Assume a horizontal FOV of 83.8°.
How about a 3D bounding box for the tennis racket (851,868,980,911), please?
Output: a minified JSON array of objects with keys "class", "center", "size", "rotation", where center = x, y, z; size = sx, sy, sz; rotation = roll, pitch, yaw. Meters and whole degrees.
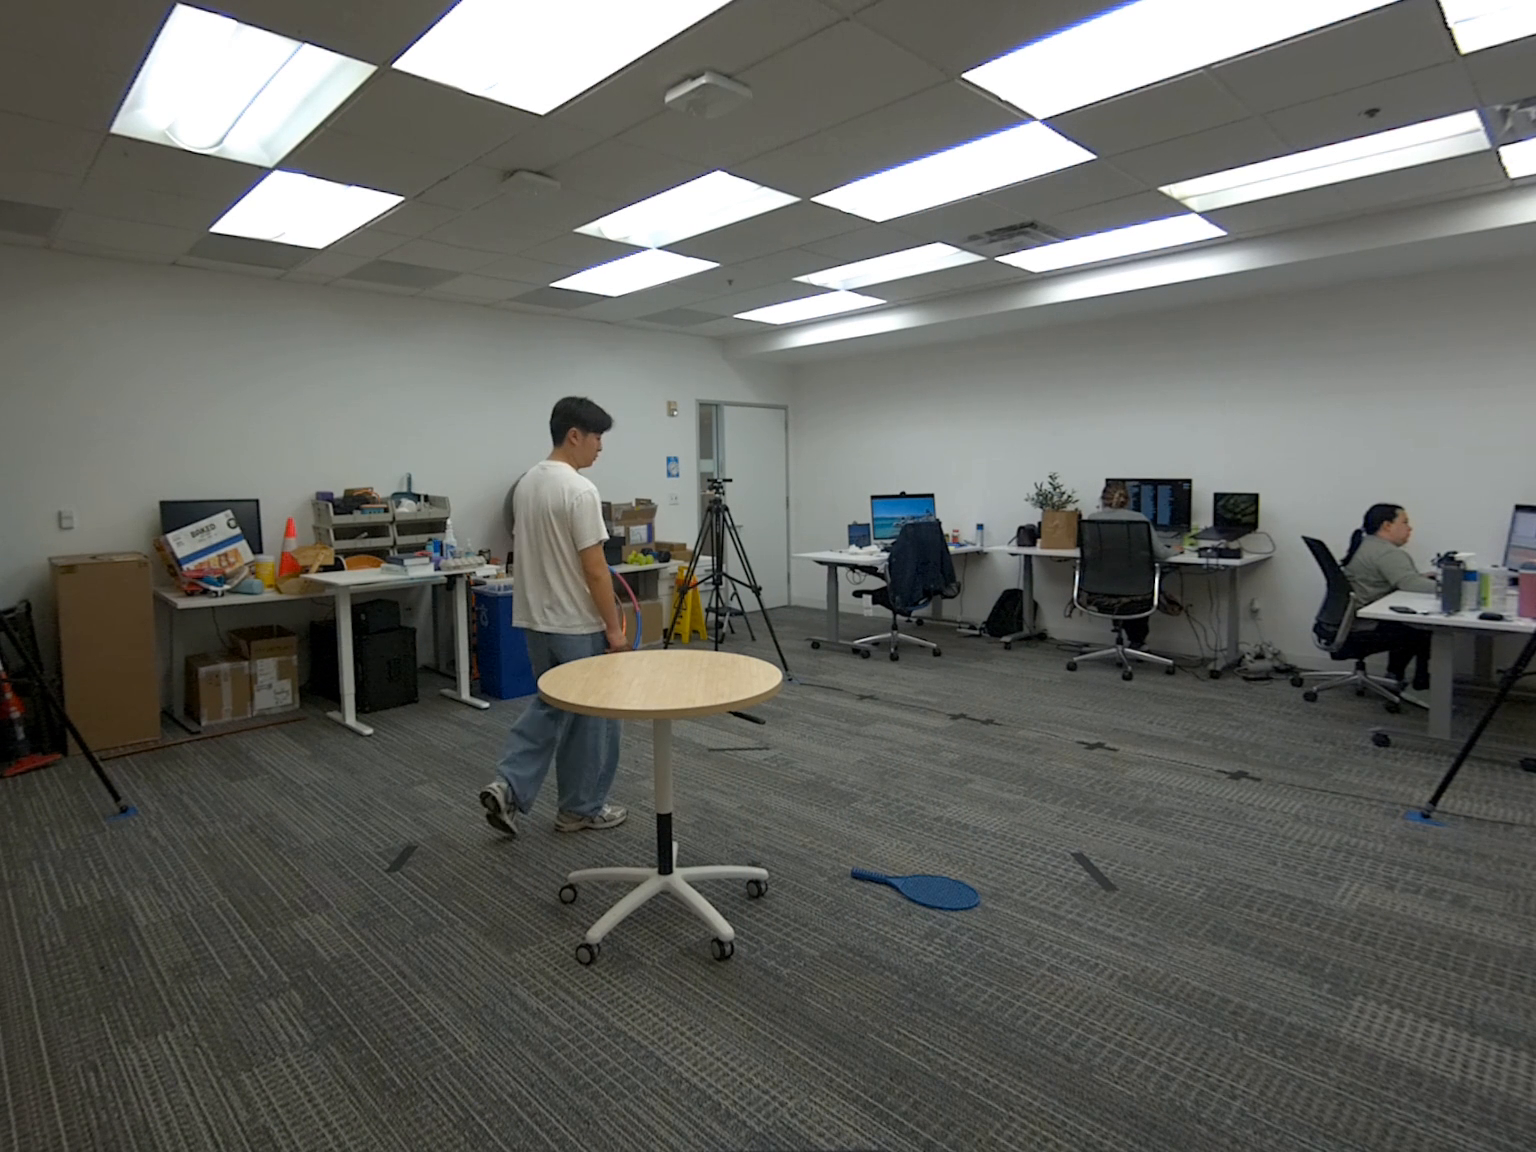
[{"class":"tennis racket","center":[0.495,1.047,2.890],"size":[0.444,0.031,0.209],"rotation":[4,7,27]}]
